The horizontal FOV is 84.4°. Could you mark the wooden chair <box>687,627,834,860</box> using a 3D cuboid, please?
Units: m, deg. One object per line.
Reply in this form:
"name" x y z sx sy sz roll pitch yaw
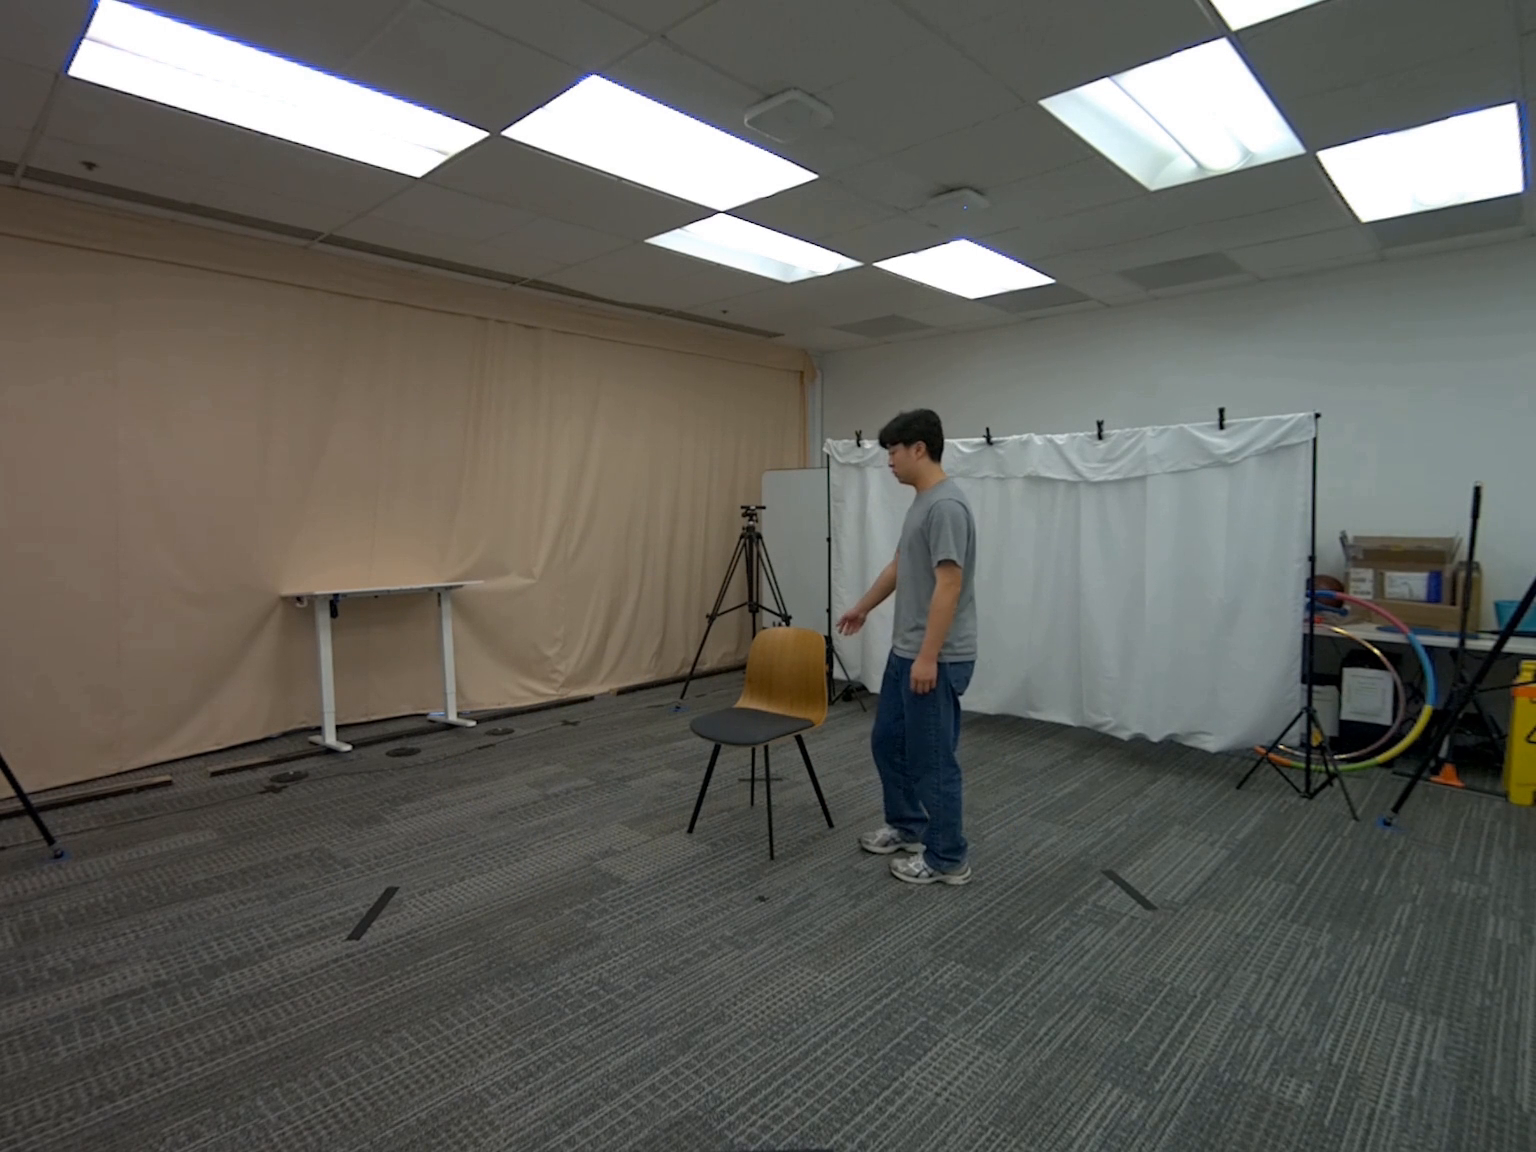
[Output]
"wooden chair" -0.033 0.667 3.584 0.493 0.877 0.506 2 -1 38
